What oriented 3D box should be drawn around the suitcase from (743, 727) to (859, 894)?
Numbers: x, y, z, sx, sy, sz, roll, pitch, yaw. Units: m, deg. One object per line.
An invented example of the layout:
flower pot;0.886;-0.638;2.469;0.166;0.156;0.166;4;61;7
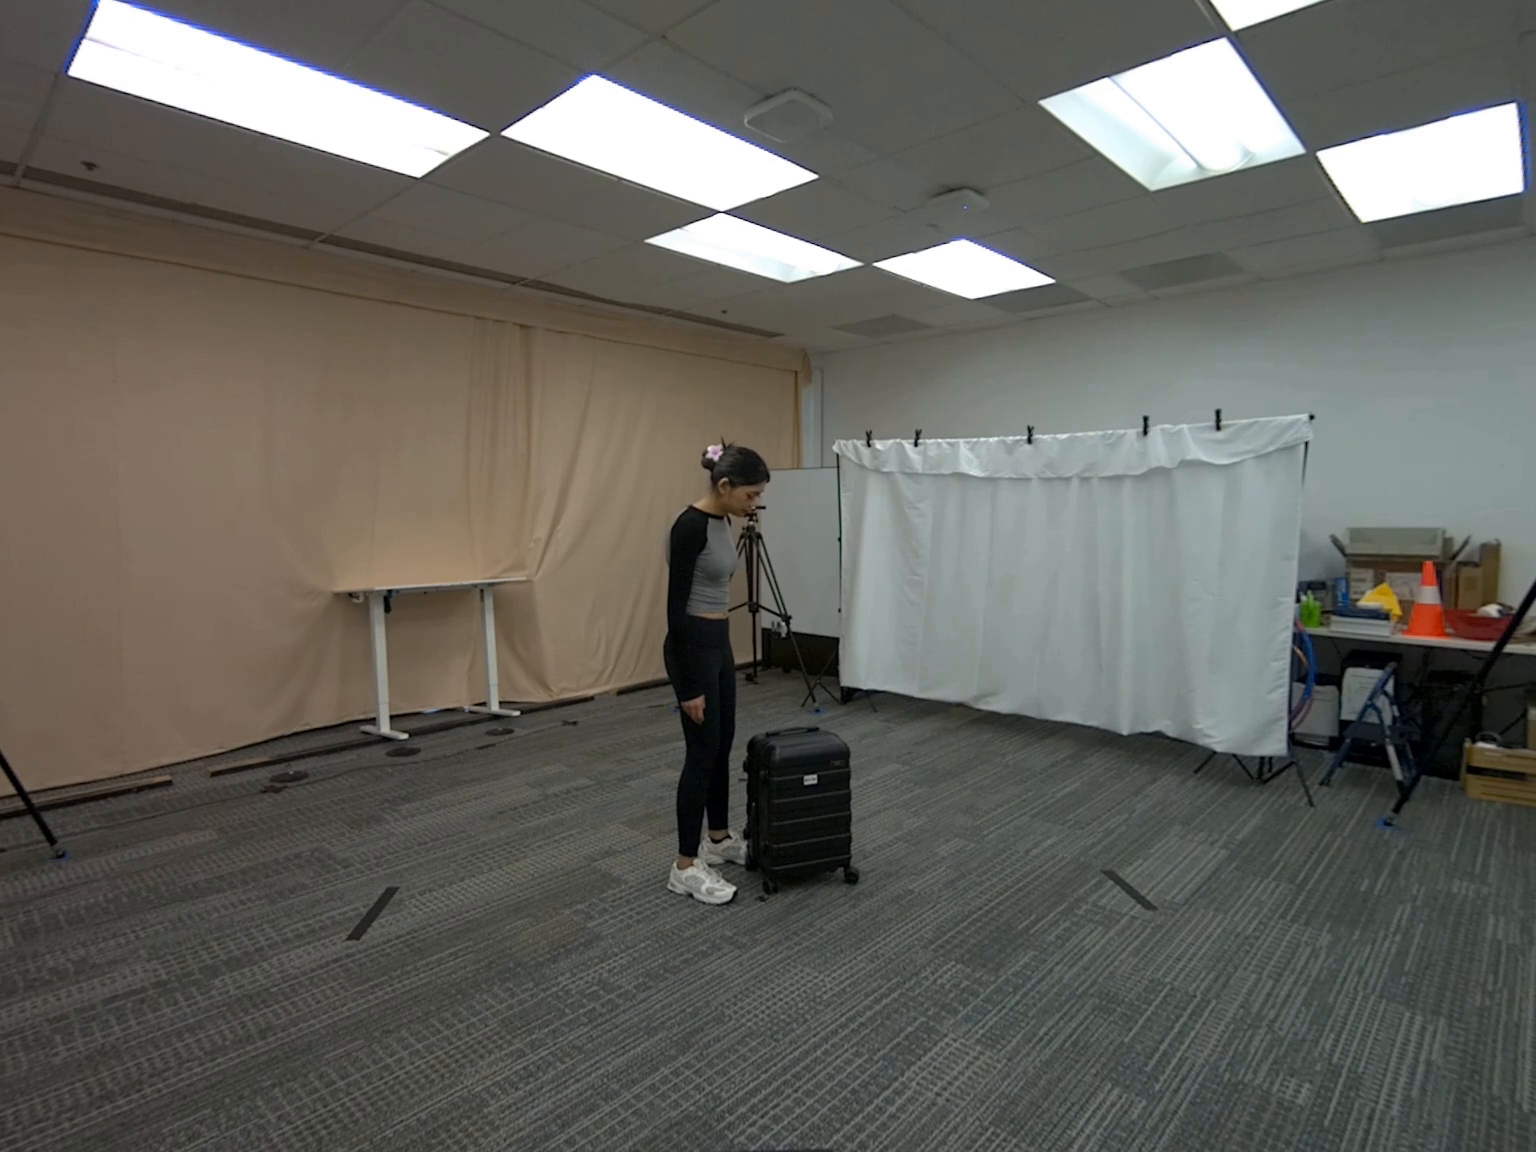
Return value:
suitcase;0.121;0.851;3.150;0.368;0.548;0.254;-1;4;-21
